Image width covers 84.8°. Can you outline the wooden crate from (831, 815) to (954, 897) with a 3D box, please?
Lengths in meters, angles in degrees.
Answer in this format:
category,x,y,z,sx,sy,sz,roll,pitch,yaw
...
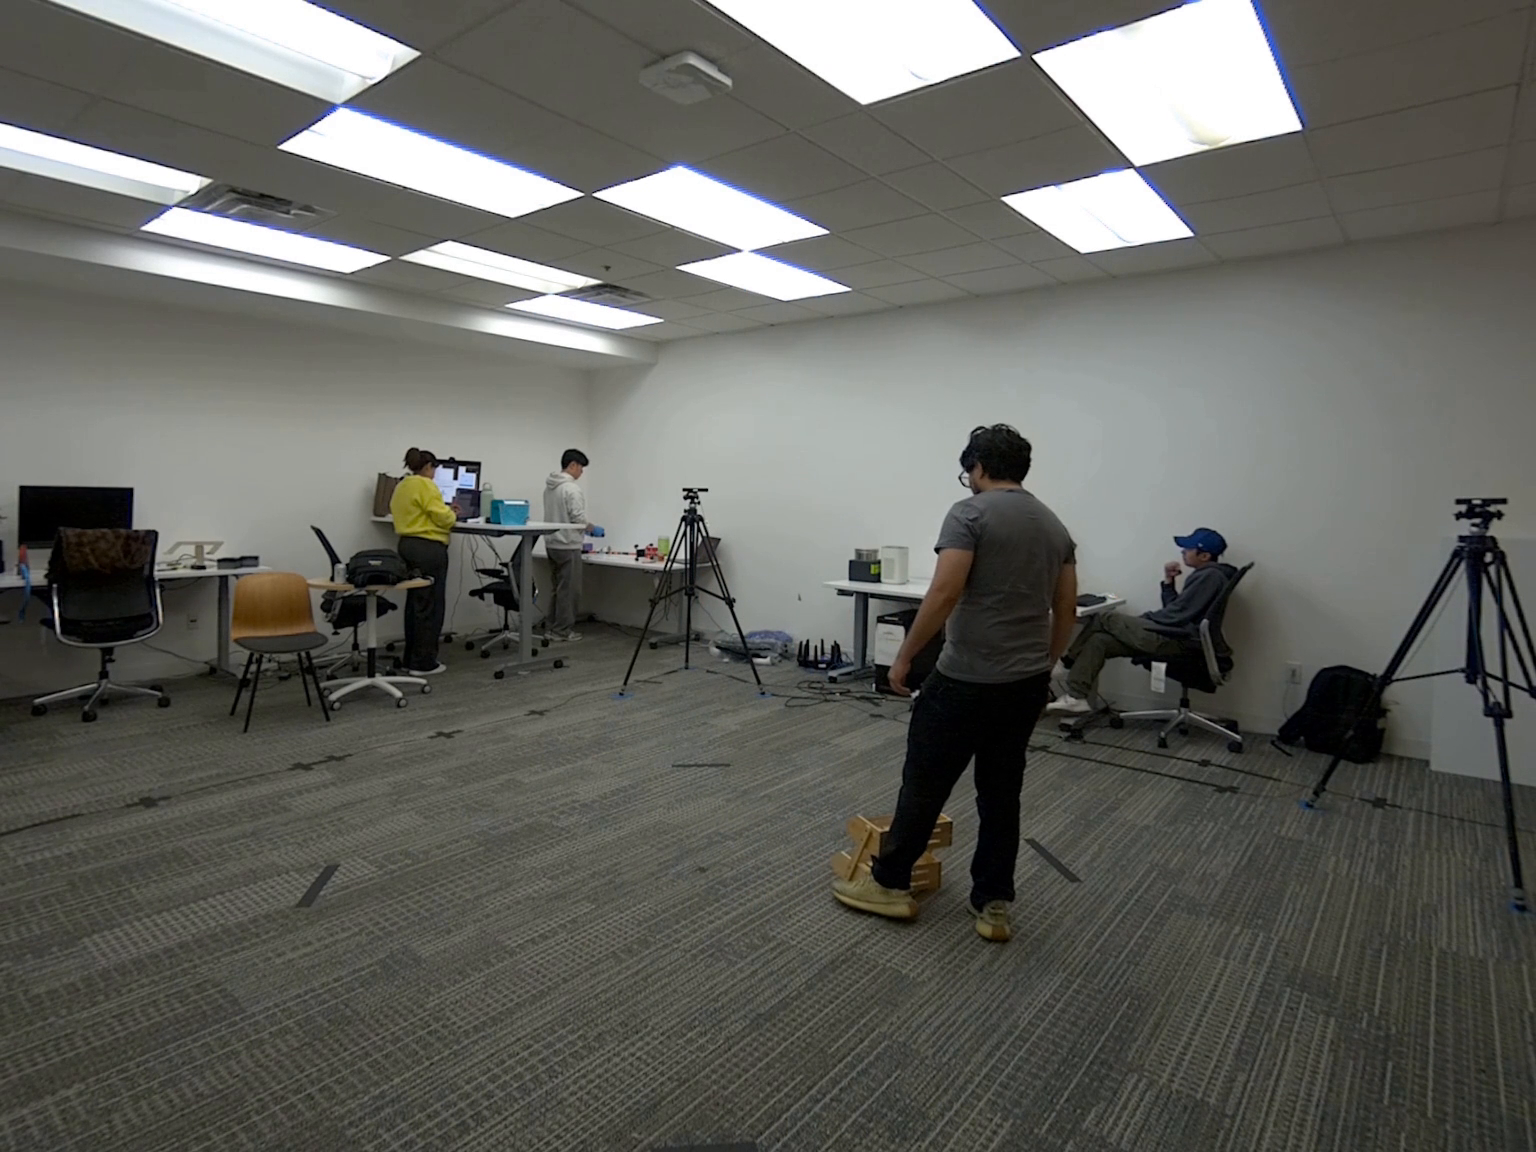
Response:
category,x,y,z,sx,sy,sz,roll,pitch,yaw
wooden crate,0.432,0.956,3.043,0.317,0.272,0.310,0,5,-24
